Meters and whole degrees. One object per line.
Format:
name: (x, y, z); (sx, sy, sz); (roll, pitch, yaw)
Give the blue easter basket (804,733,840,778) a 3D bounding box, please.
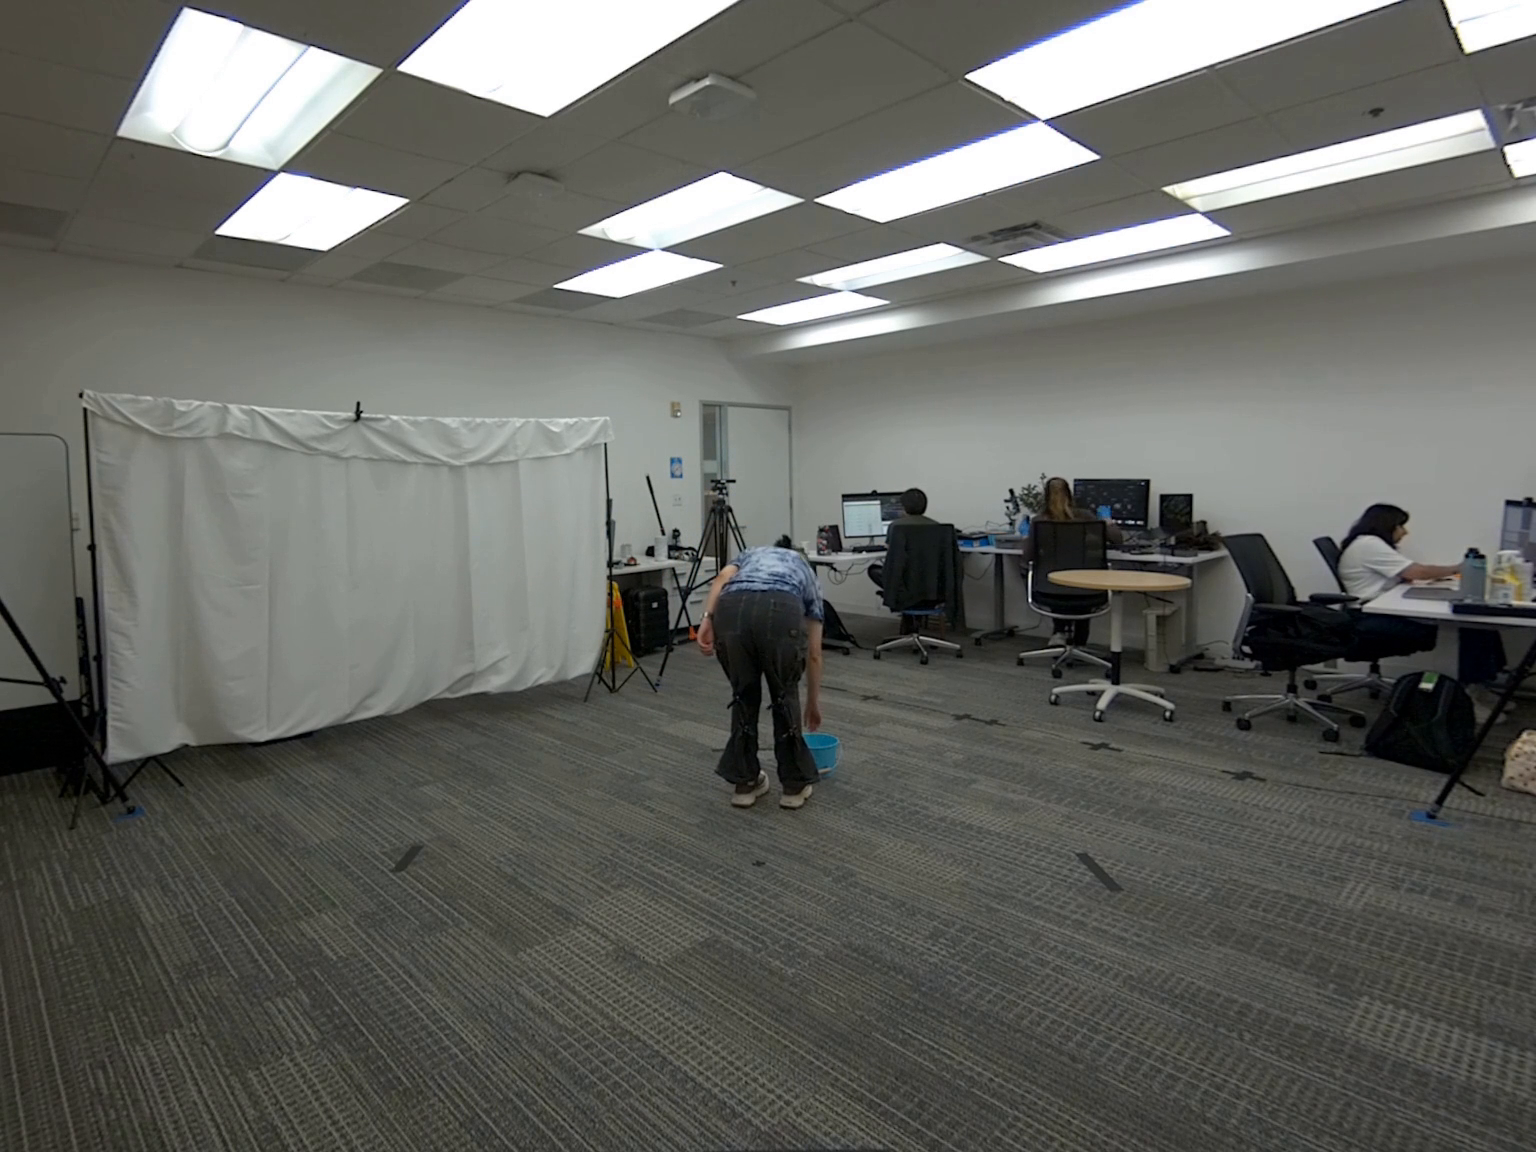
blue easter basket: (0.220, 0.856, 4.078); (0.243, 0.155, 0.245); (-1, 6, -2)
